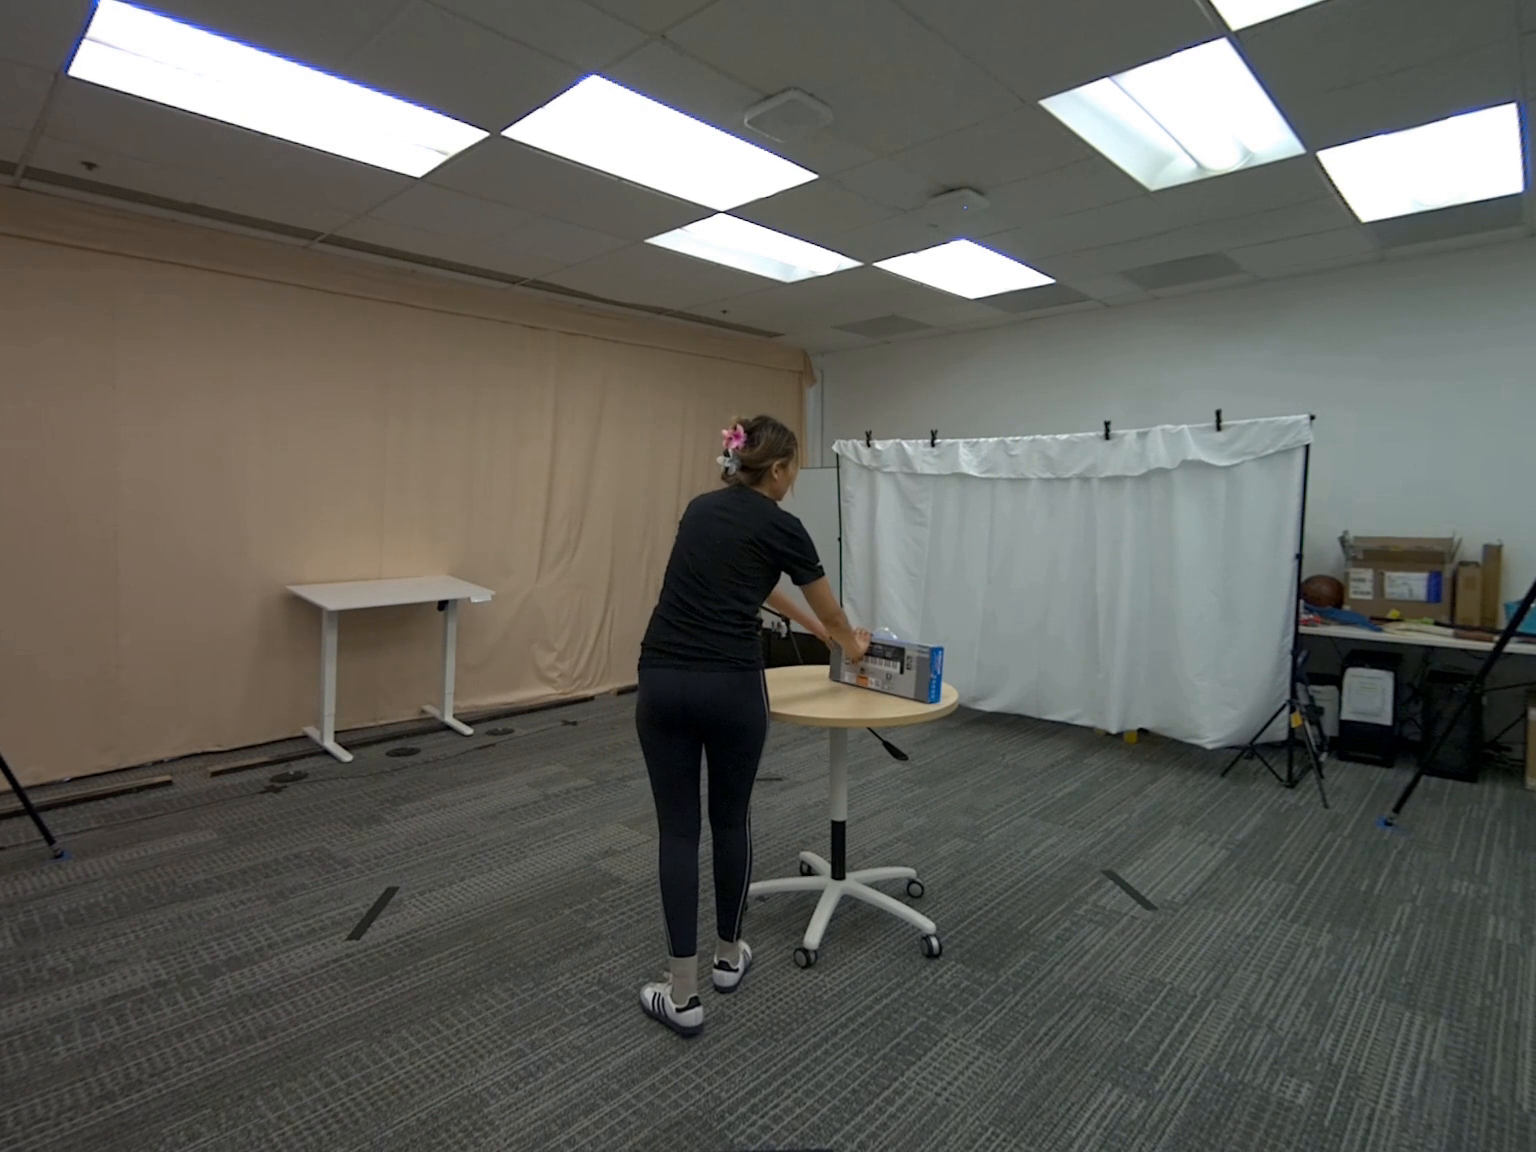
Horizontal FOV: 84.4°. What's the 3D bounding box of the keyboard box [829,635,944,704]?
[{"bbox_3d":[0.382,0.291,2.760,0.057,0.176,0.451,2,3,-39],"label":"keyboard box"}]
